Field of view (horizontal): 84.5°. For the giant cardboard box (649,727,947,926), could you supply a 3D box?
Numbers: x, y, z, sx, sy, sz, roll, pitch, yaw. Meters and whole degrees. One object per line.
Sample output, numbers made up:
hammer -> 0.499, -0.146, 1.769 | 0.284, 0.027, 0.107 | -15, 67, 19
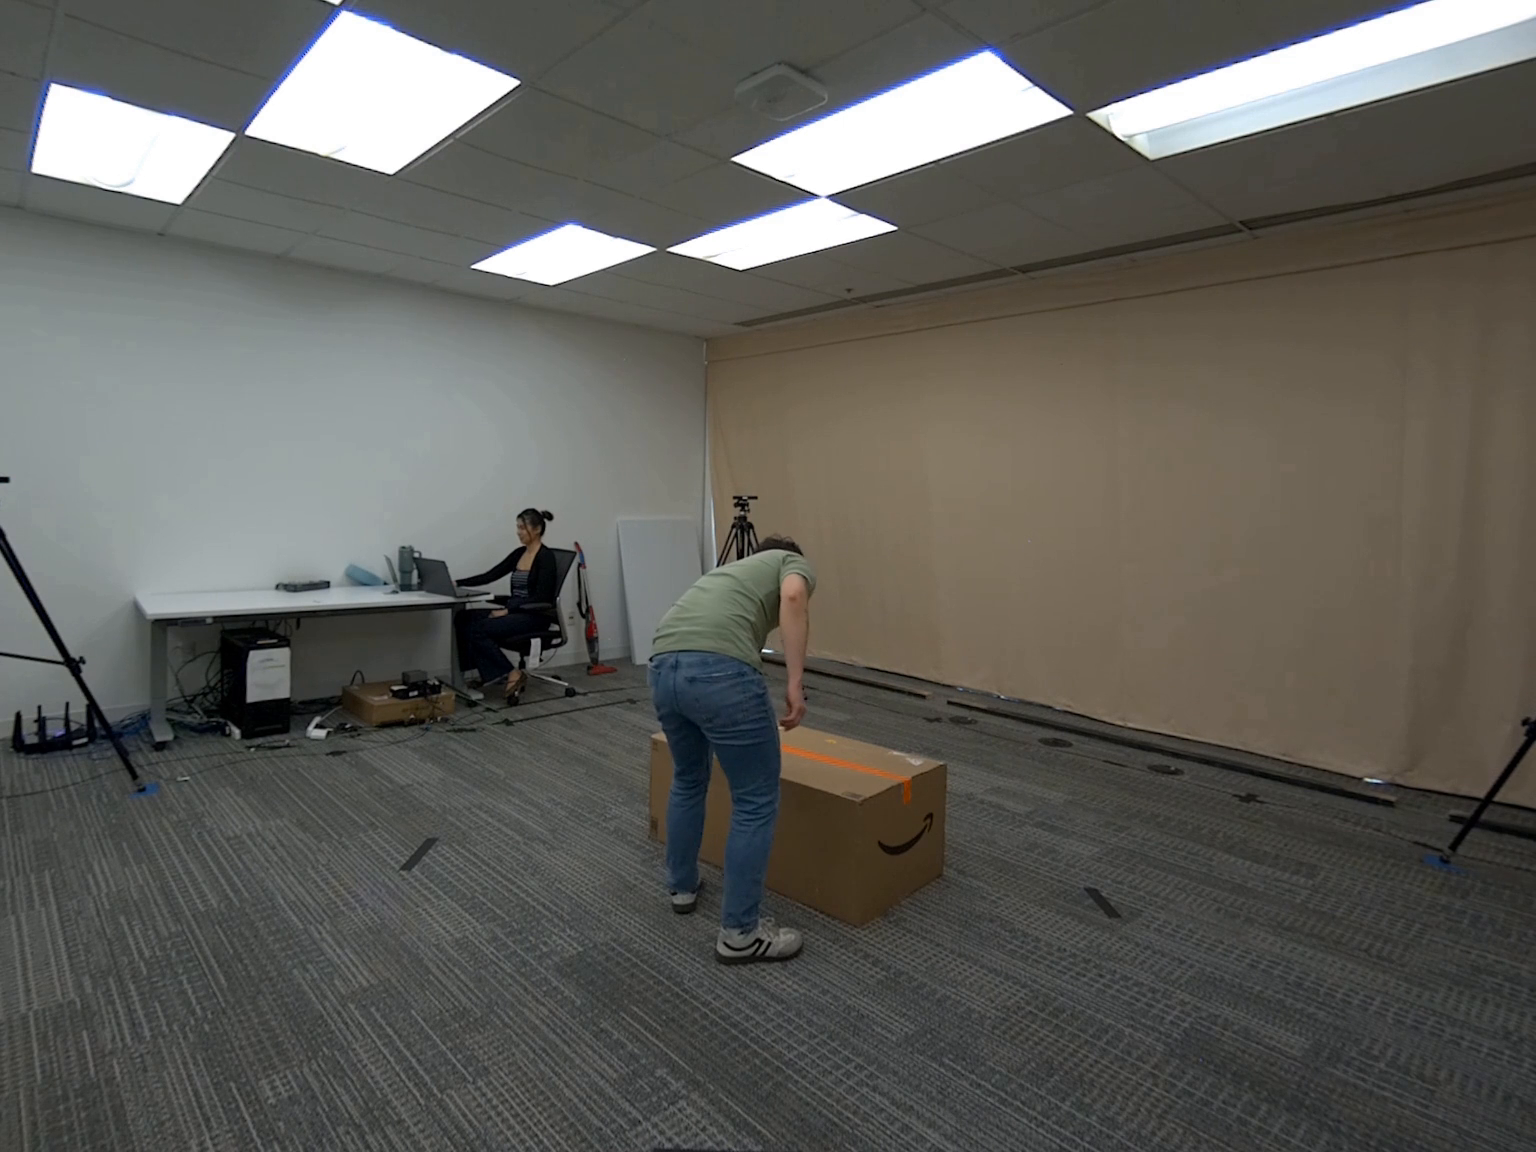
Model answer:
giant cardboard box -> 0.083, 0.881, 3.278 | 1.052, 0.425, 0.564 | 5, 6, 42
